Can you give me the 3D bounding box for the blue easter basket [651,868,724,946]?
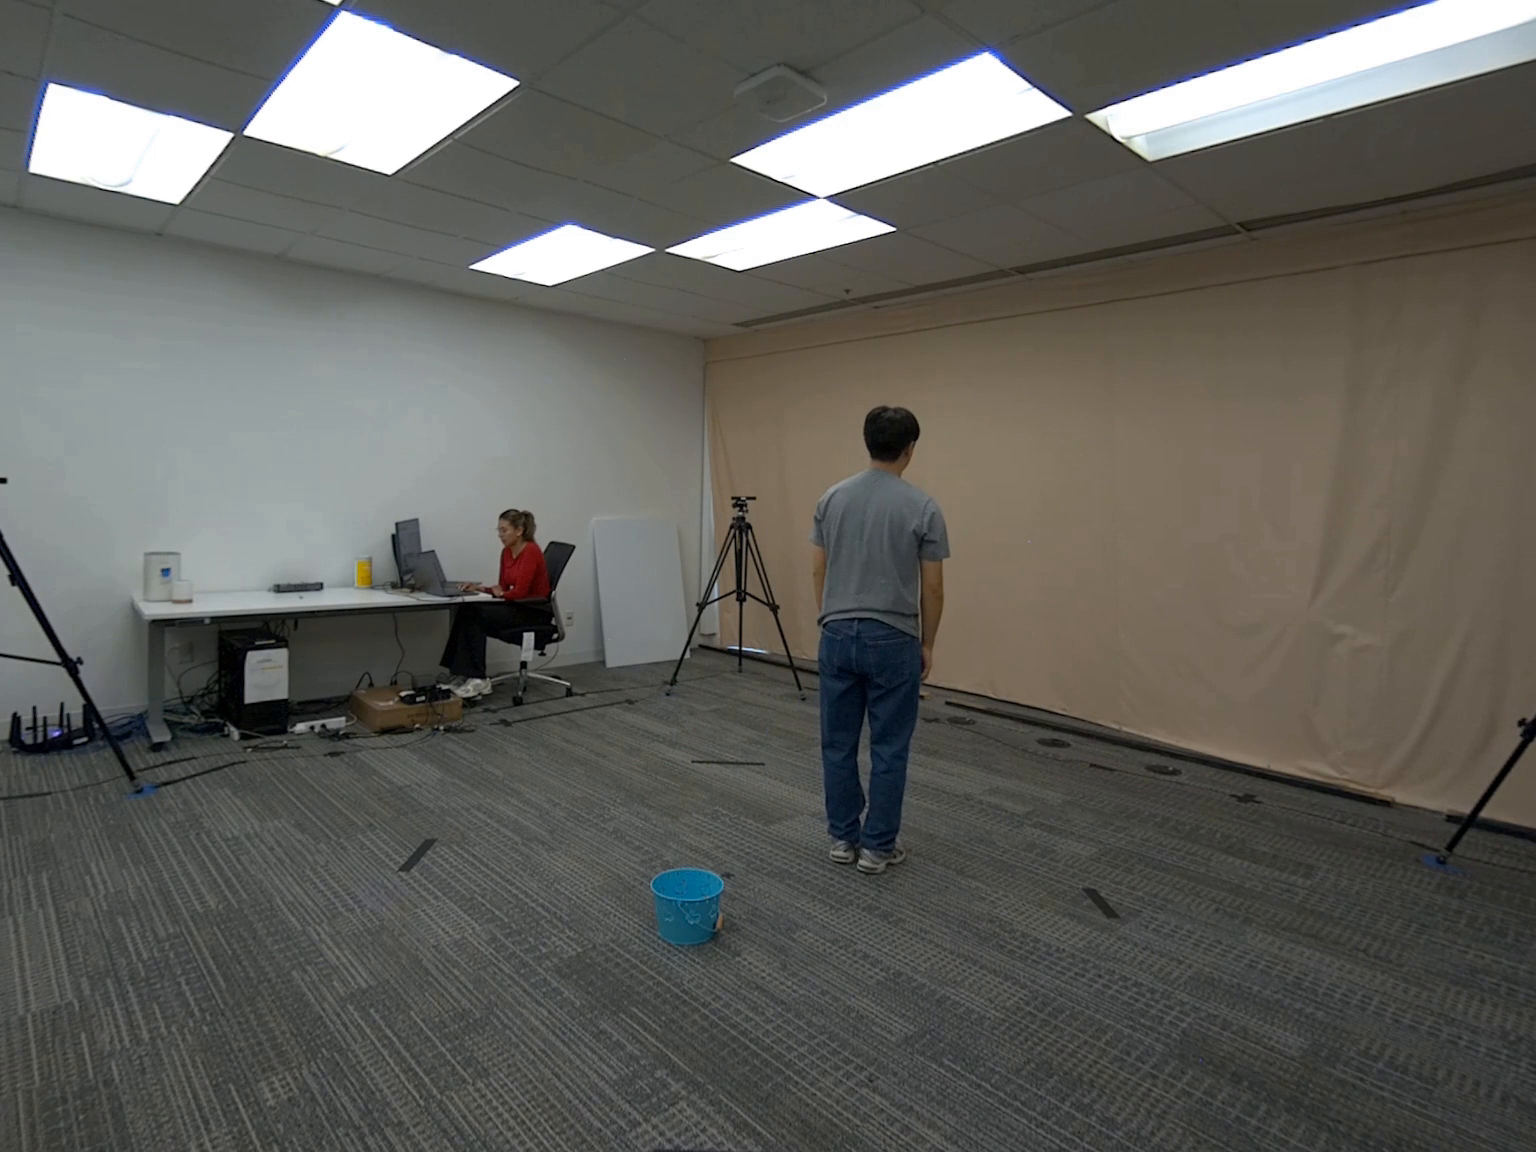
[{"bbox_3d":[-0.266,1.061,2.695,0.243,0.155,0.244,1,4,-1],"label":"blue easter basket"}]
